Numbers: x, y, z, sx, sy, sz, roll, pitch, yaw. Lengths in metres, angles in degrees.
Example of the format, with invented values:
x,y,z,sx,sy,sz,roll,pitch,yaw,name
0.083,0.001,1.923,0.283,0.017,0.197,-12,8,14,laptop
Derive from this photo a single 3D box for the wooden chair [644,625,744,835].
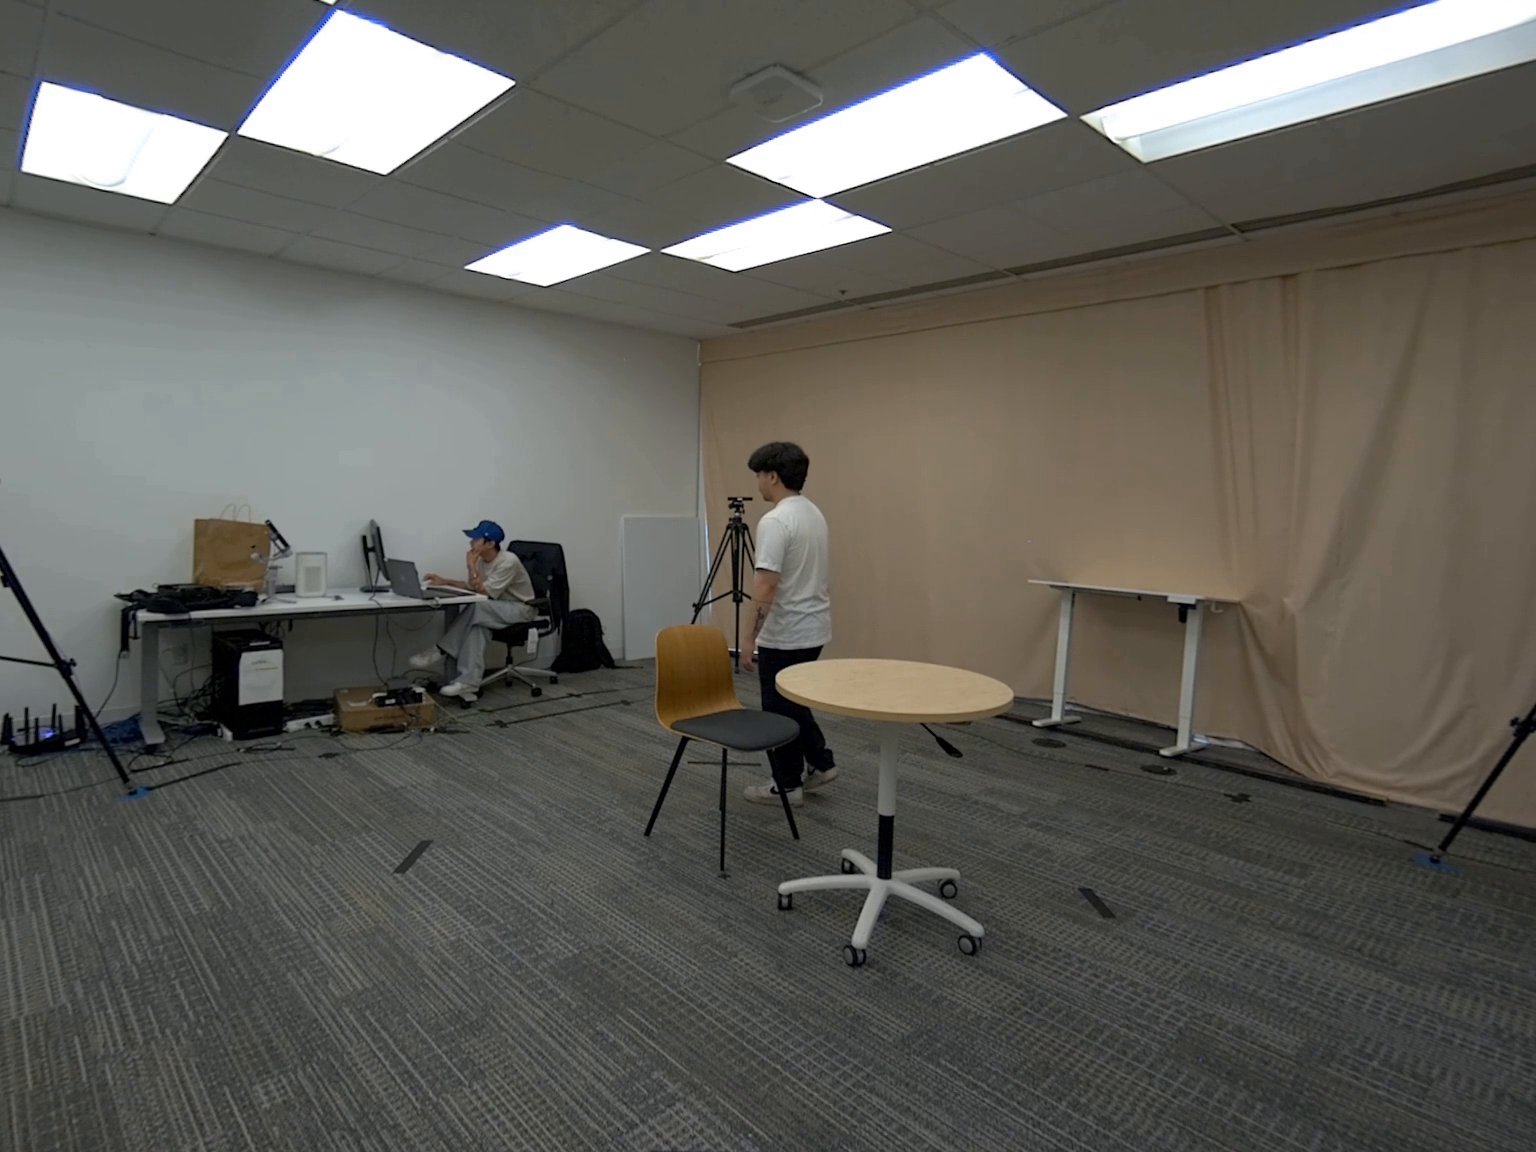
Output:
x,y,z,sx,sy,sz,roll,pitch,yaw,name
-0.181,0.652,3.422,0.535,0.878,0.467,-2,0,44,wooden chair
